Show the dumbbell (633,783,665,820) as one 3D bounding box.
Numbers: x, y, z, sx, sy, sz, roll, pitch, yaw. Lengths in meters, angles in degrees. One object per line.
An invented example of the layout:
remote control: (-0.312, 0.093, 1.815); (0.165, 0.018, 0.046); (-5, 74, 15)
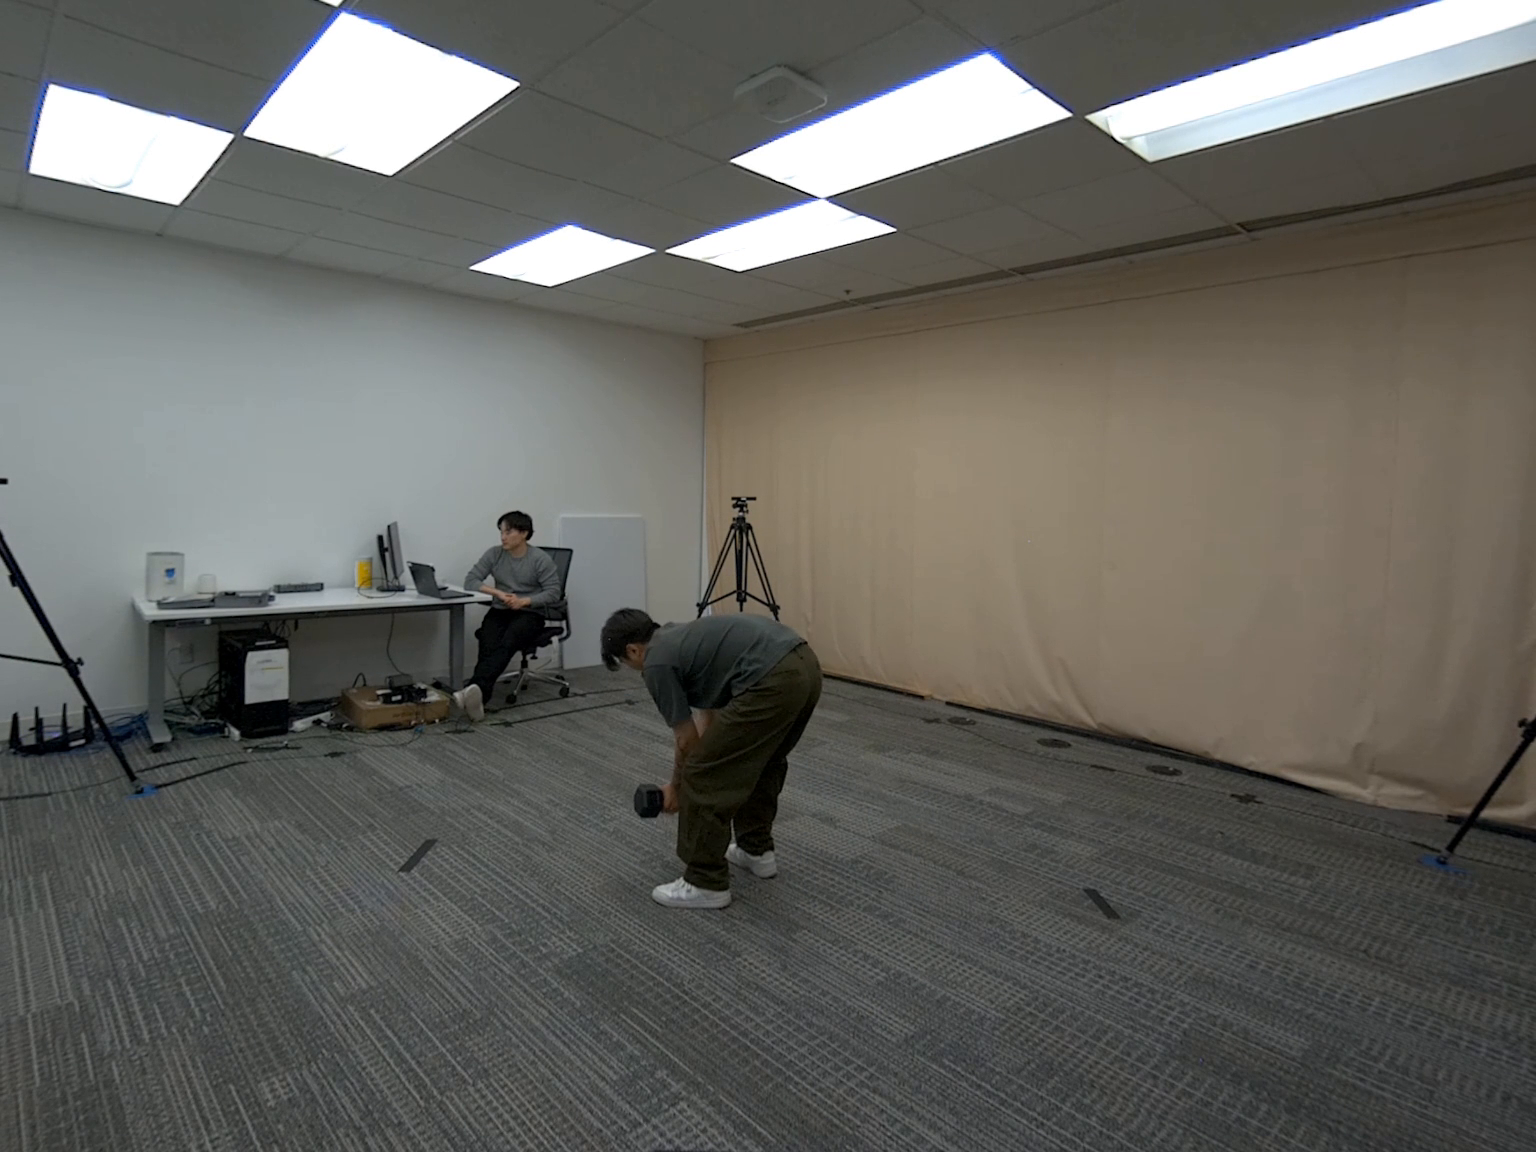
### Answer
dumbbell: (-0.358, 0.836, 3.158); (0.287, 0.125, 0.109); (9, -28, -28)
